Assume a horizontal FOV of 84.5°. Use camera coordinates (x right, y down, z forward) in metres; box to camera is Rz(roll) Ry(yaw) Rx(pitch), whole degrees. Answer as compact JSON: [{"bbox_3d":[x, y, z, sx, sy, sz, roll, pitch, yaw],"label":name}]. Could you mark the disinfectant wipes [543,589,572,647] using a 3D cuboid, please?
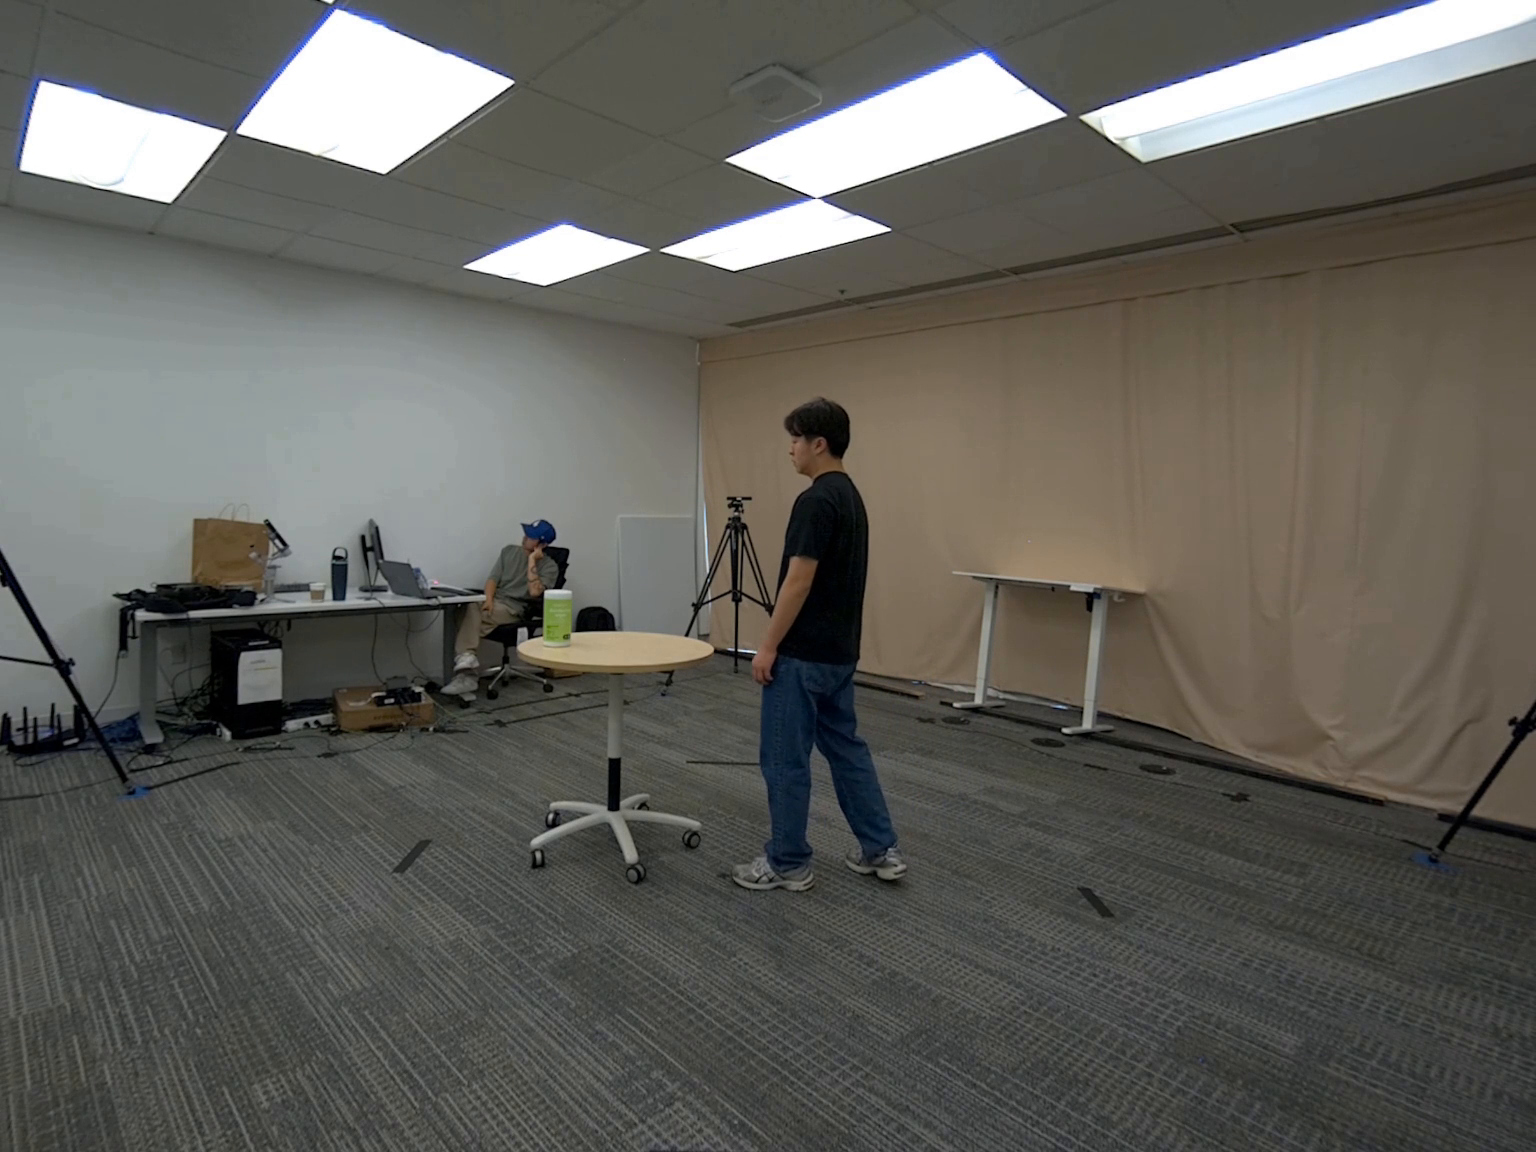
[{"bbox_3d":[-0.828,0.170,3.310,0.118,0.217,0.118,1,0,-1],"label":"disinfectant wipes"}]
